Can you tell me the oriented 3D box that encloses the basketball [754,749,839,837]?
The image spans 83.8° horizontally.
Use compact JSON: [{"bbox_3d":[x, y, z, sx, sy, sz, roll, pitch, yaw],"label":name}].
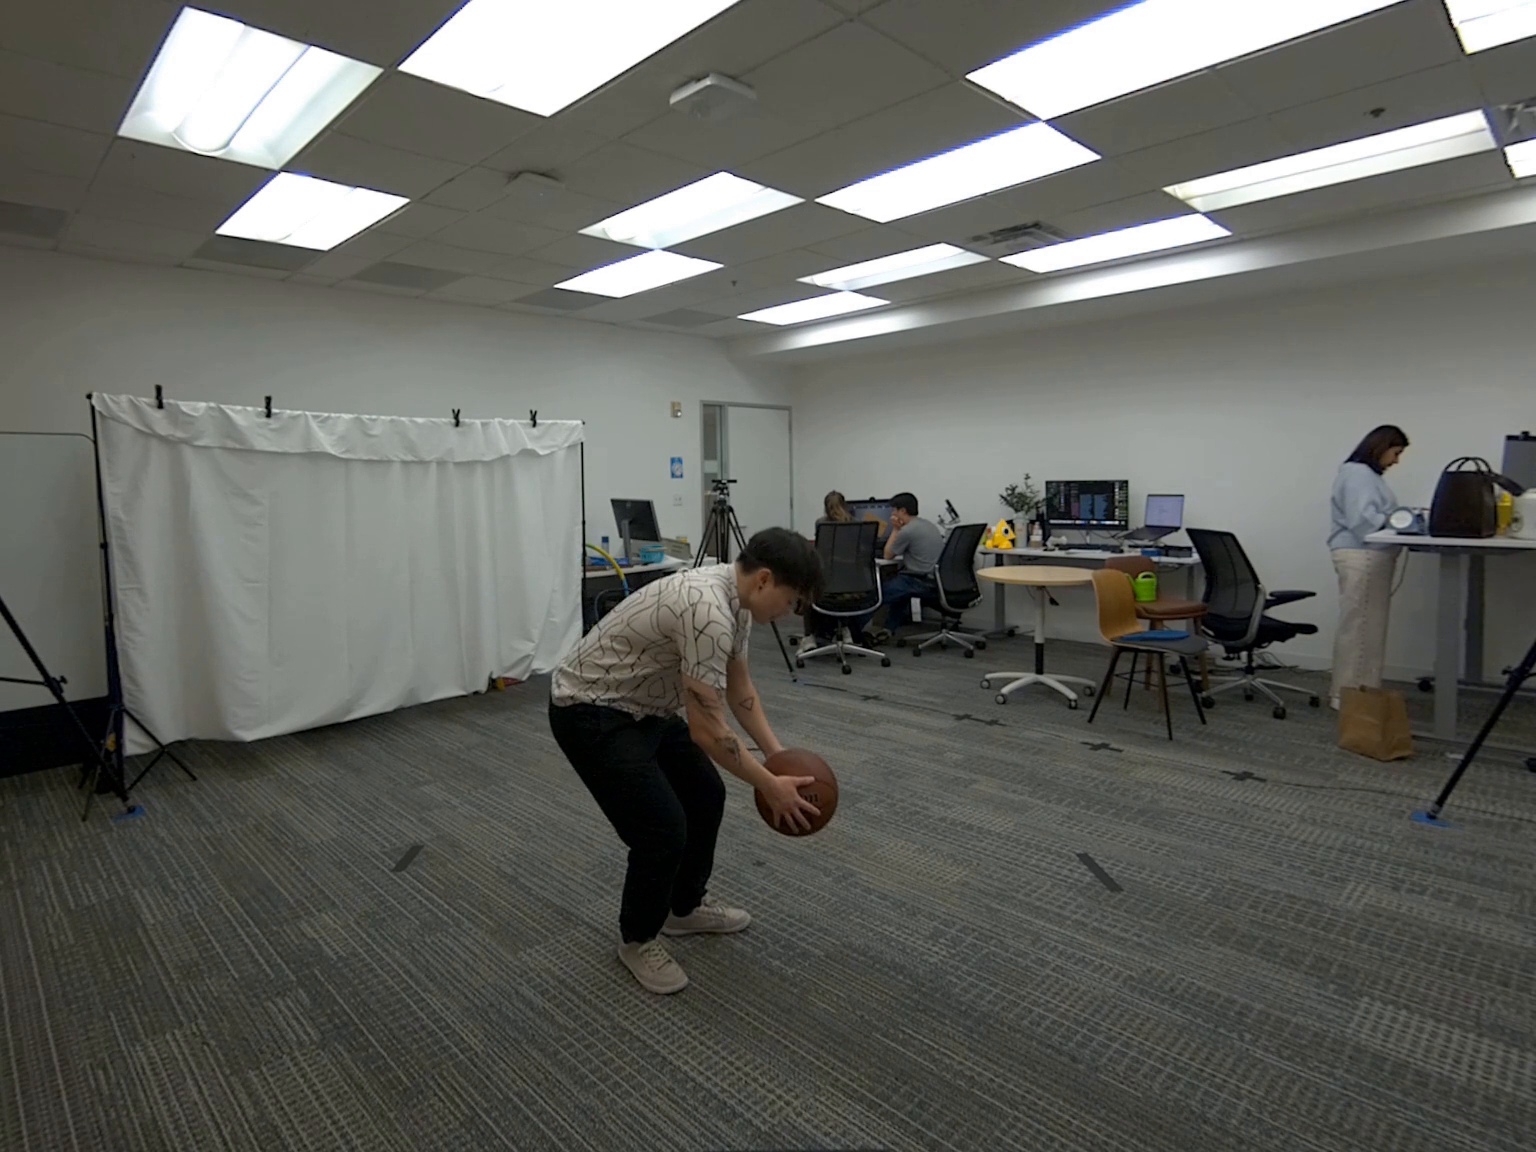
[{"bbox_3d":[0.078,0.608,2.417,0.236,0.235,0.237,-1,5,-2],"label":"basketball"}]
